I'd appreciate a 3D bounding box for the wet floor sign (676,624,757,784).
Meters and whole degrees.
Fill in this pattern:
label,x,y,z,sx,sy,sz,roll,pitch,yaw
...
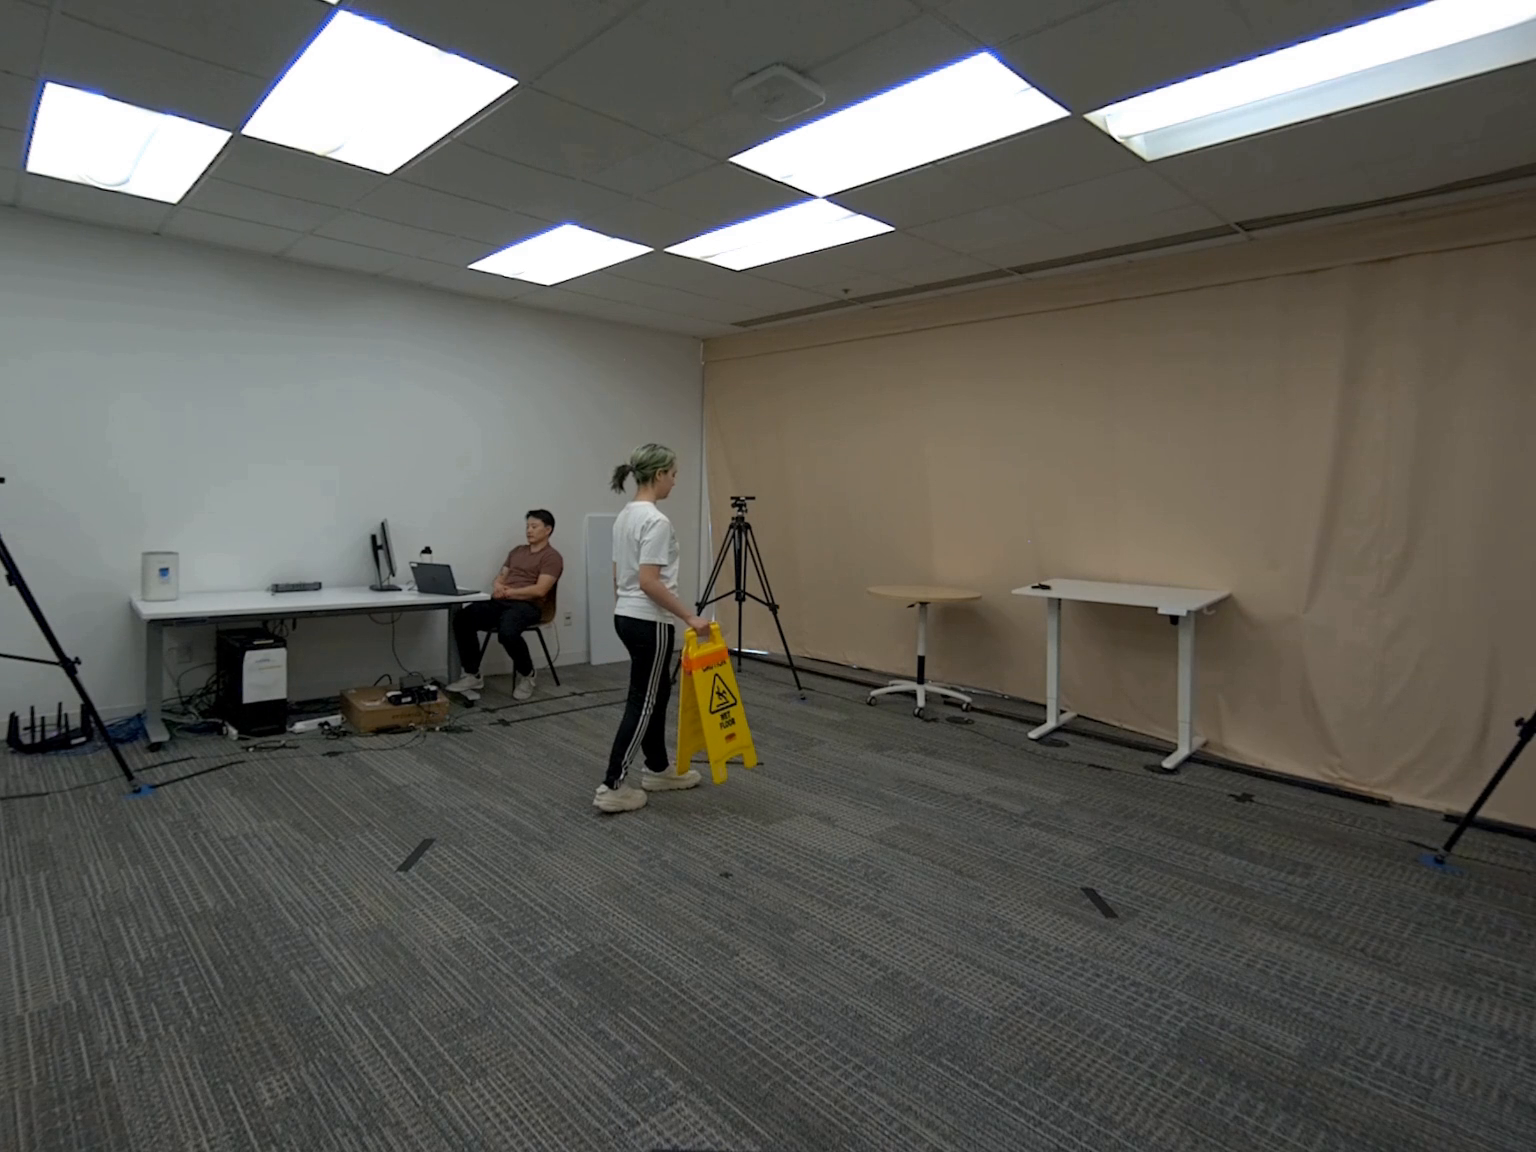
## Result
label,x,y,z,sx,sy,sz,roll,pitch,yaw
wet floor sign,-0.265,0.535,3.695,0.296,0.643,0.277,0,8,39
